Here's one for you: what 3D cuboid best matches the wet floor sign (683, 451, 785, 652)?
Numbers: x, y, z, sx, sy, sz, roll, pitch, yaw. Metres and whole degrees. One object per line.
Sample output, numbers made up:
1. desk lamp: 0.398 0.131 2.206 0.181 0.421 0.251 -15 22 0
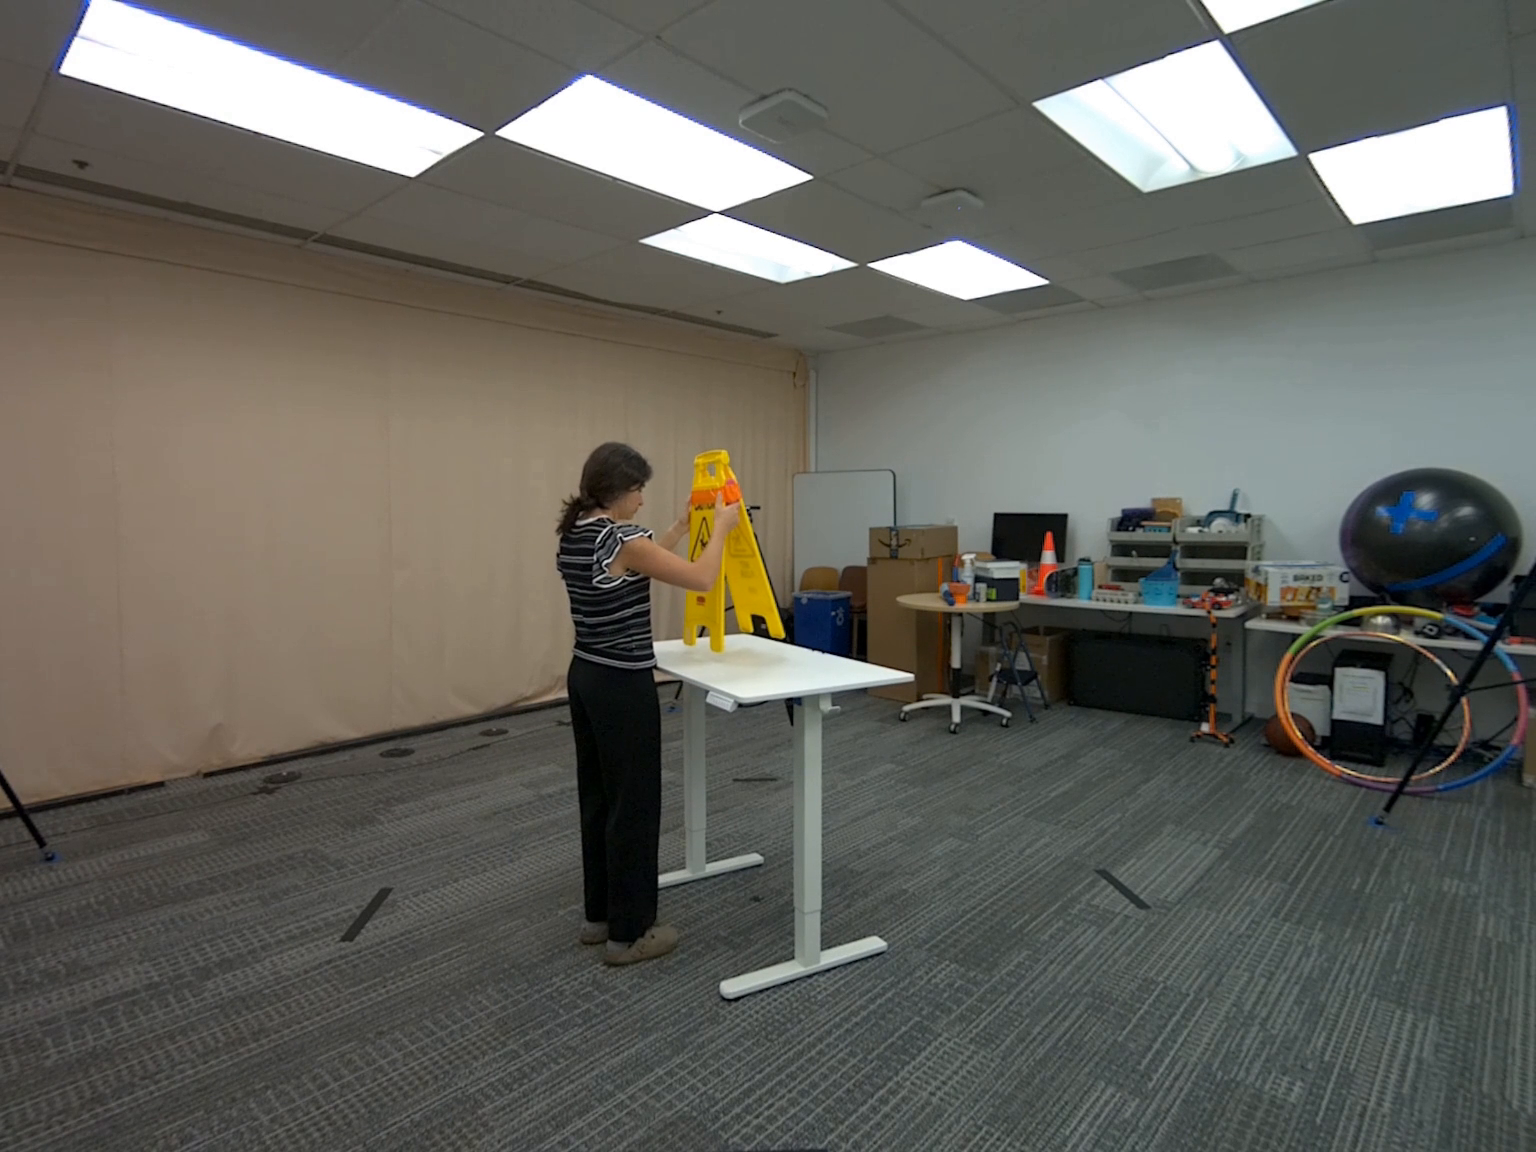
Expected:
1. wet floor sign: -0.157 -0.094 2.865 0.283 0.644 0.290 -8 4 -27
